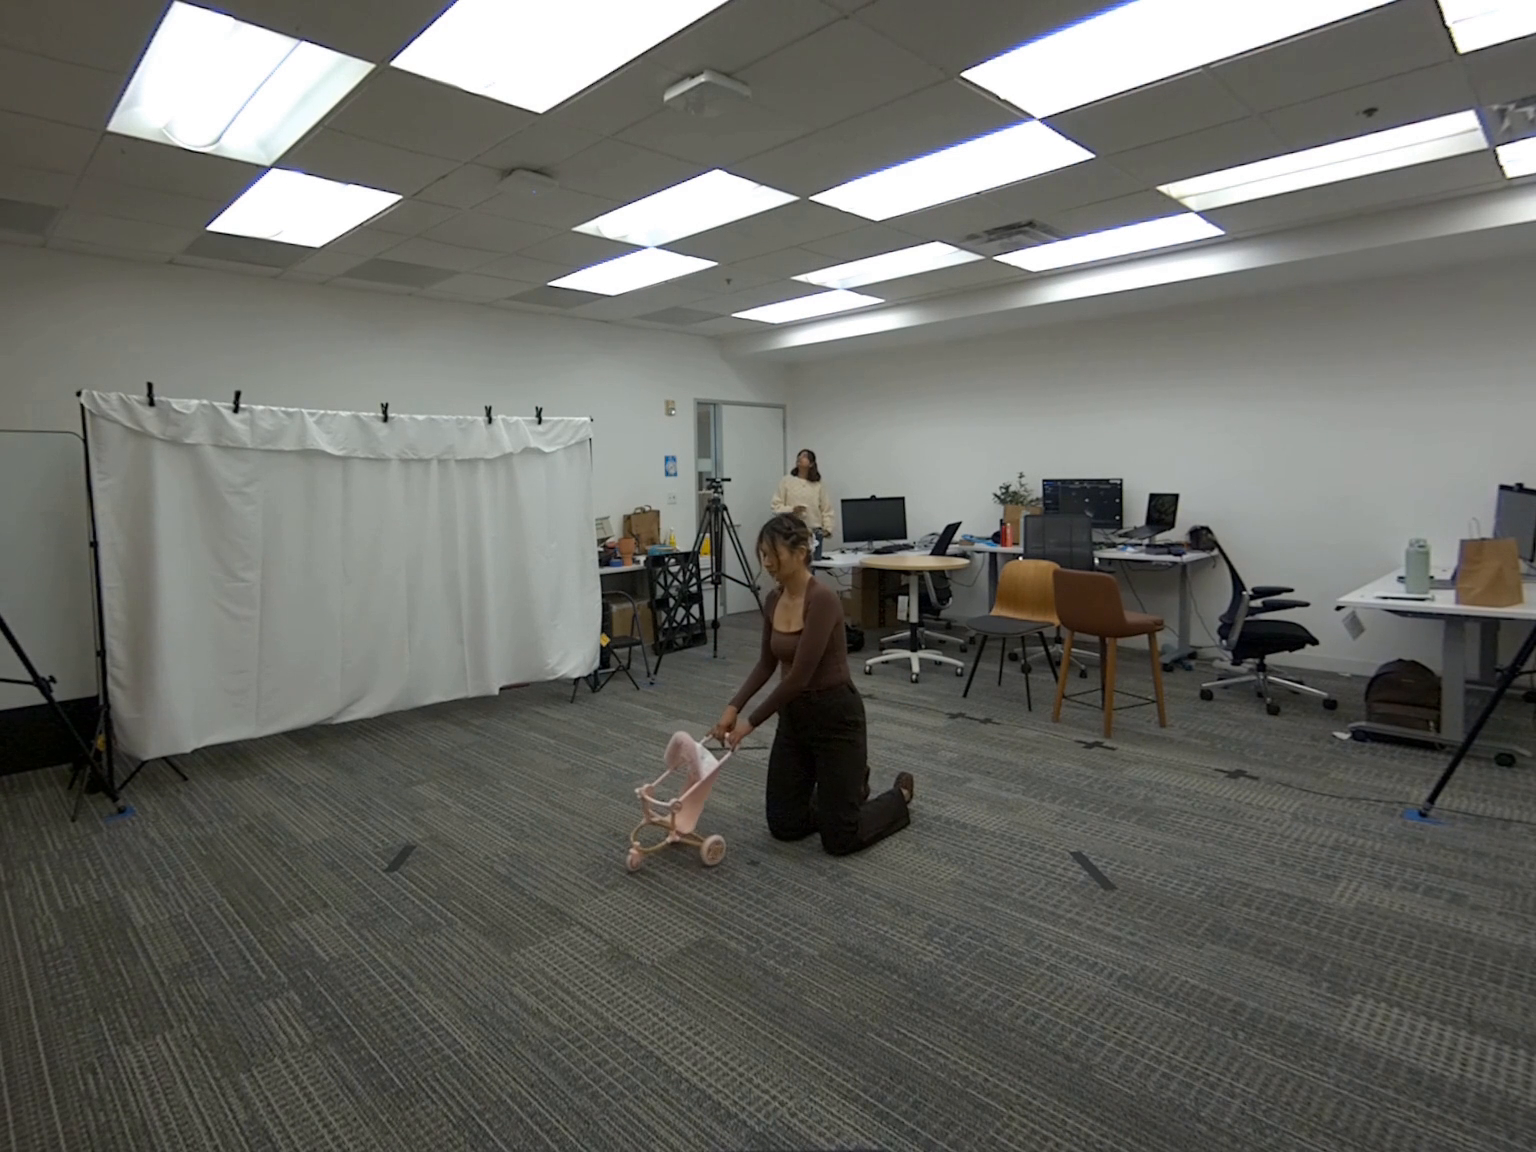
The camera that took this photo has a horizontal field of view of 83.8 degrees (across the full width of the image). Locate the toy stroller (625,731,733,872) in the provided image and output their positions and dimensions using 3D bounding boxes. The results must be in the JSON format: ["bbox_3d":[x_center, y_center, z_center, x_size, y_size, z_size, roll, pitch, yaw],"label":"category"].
[{"bbox_3d":[-0.326,0.817,3.148,0.331,0.537,0.289,16,-6,-32],"label":"toy stroller"}]
